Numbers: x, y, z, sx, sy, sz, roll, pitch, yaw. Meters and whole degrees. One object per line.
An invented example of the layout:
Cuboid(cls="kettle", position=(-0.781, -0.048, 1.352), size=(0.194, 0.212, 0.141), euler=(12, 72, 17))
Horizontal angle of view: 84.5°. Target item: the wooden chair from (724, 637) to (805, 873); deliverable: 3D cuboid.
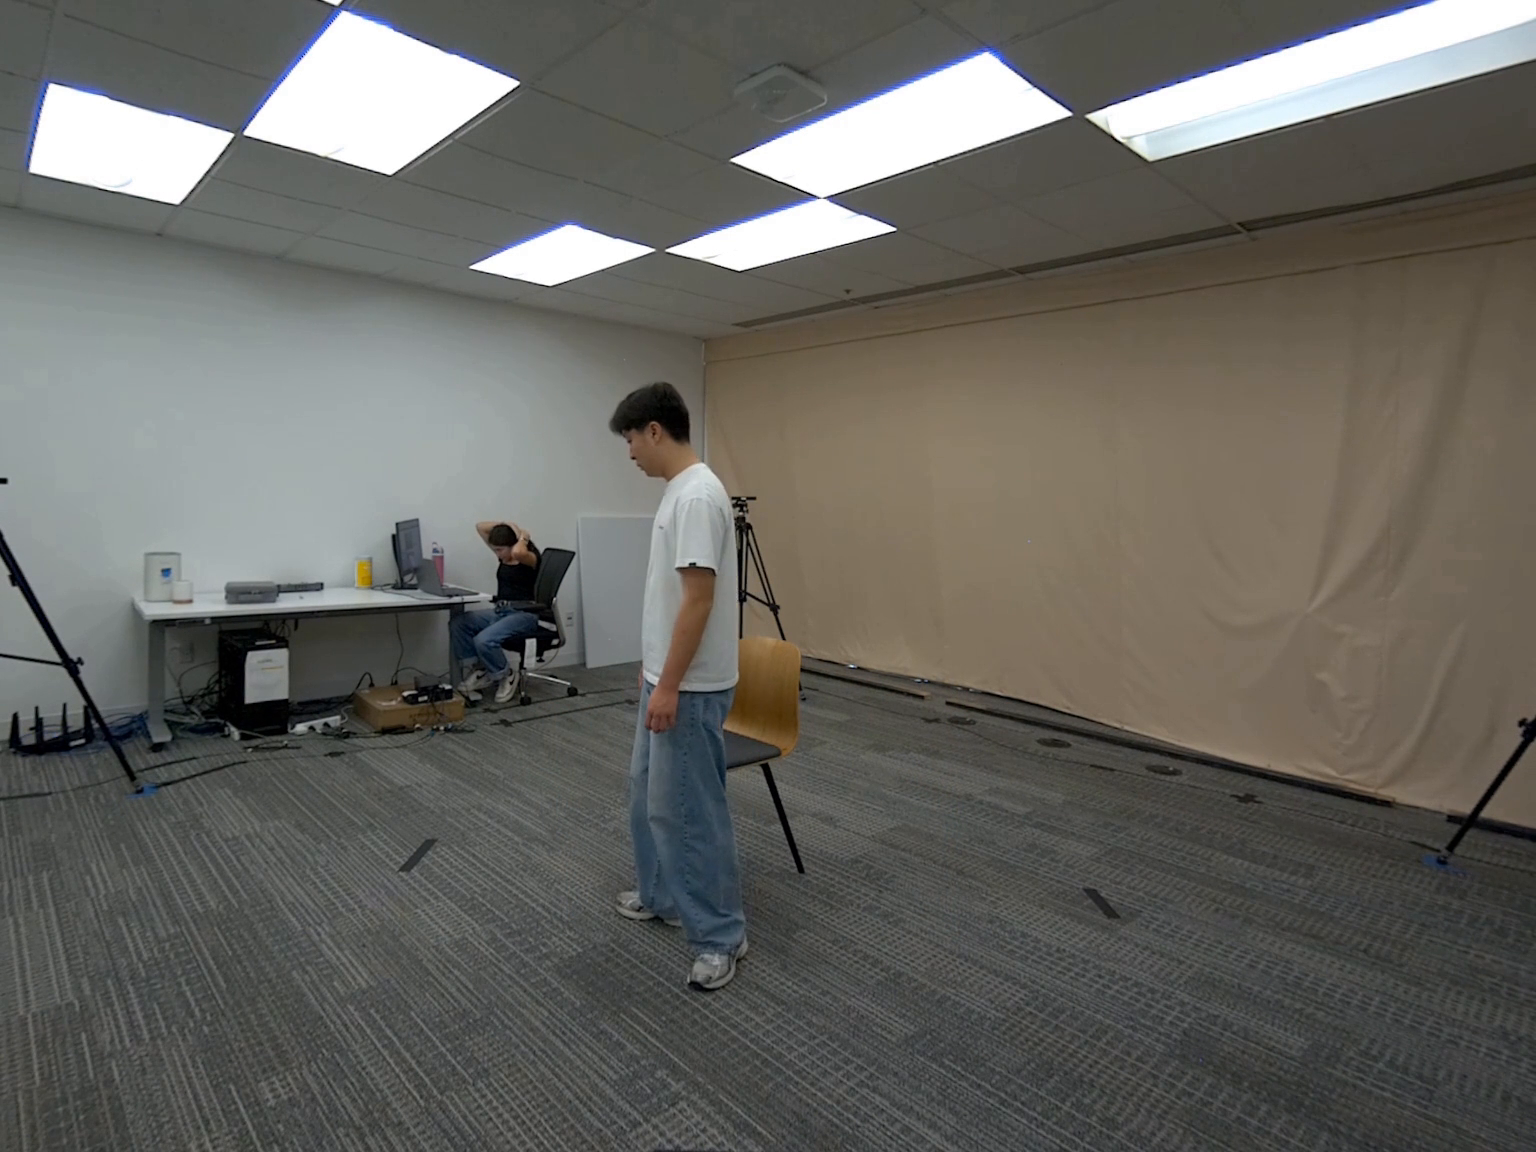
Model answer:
Cuboid(cls="wooden chair", position=(-0.180, 0.680, 3.115), size=(0.510, 0.877, 0.490), euler=(4, 0, -44))
